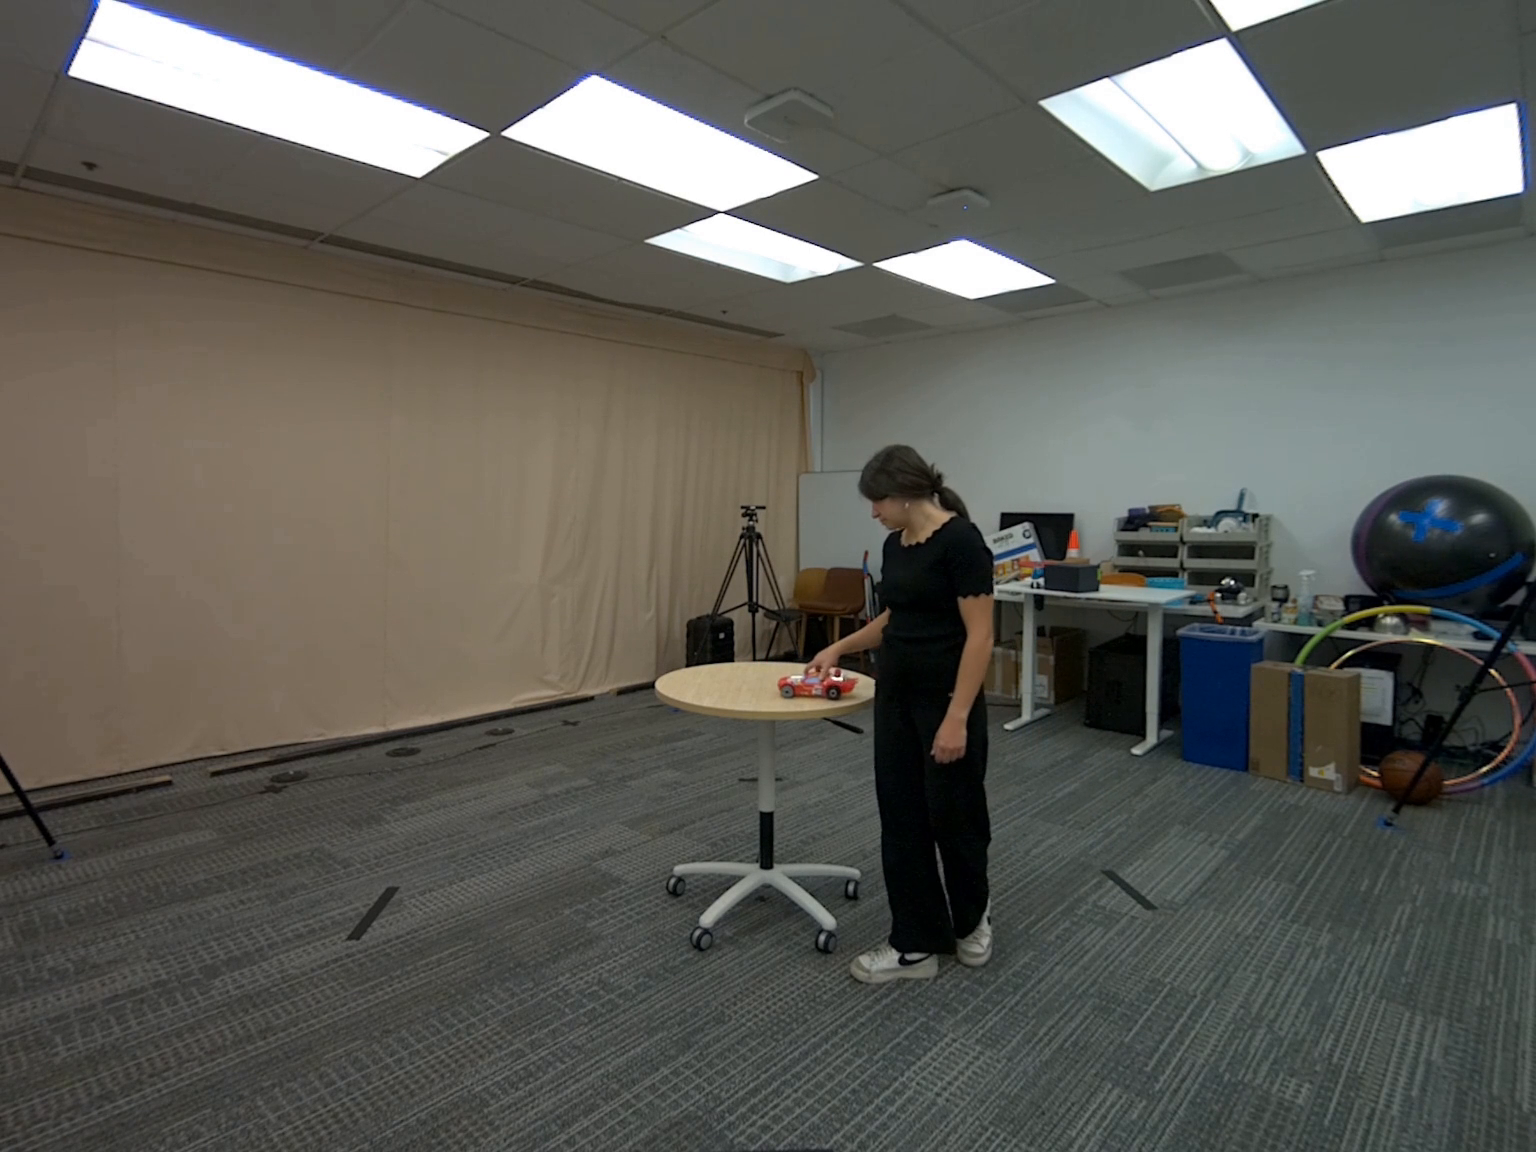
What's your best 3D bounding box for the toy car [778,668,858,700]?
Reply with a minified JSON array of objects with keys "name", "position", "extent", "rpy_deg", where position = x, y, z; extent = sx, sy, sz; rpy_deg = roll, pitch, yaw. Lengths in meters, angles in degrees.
[{"name":"toy car","position":[0.173,0.353,2.697],"extent":[0.257,0.083,0.129],"rpy_deg":[-10,2,12]}]
